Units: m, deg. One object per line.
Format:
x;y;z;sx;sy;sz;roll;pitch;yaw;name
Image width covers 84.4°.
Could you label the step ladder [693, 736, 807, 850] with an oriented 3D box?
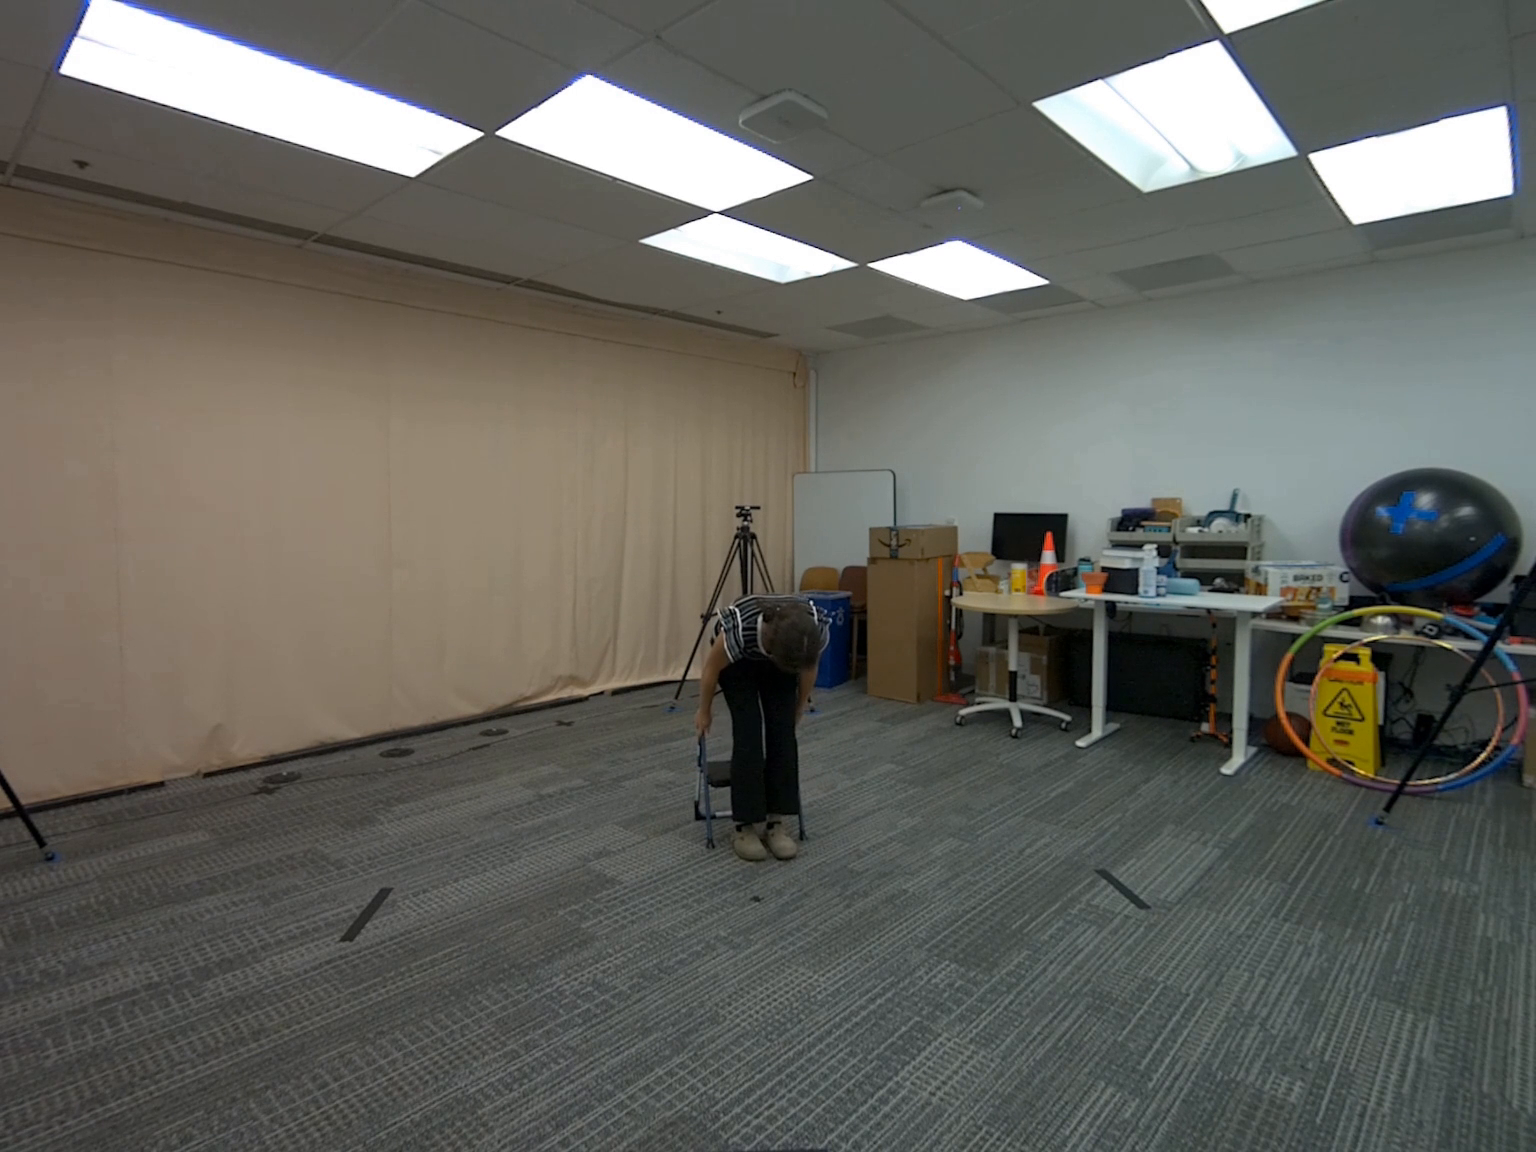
-0.084;0.793;3.624;0.425;0.605;0.355;0;4;-13;step ladder
